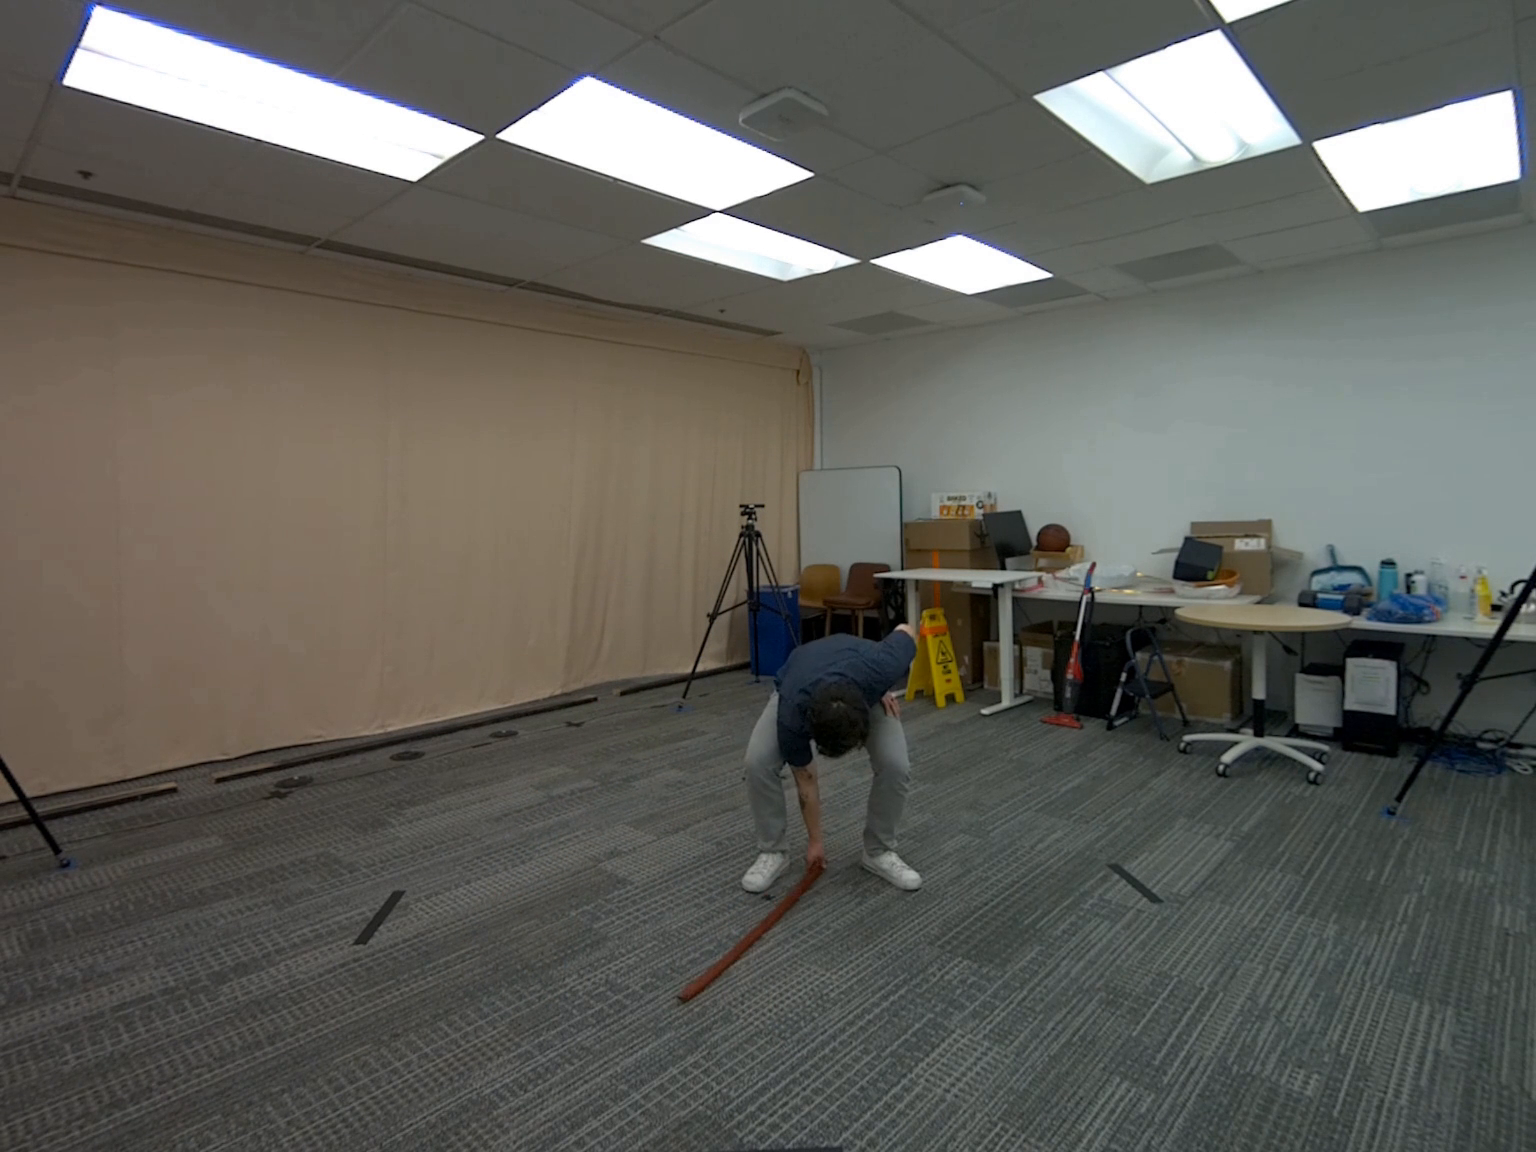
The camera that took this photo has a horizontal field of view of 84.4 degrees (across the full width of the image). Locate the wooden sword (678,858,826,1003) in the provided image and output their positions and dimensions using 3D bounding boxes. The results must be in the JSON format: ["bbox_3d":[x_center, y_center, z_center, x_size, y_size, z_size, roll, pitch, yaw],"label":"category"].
[{"bbox_3d":[-0.003,1.125,2.795,0.052,0.024,1.000,37,20,19],"label":"wooden sword"}]
